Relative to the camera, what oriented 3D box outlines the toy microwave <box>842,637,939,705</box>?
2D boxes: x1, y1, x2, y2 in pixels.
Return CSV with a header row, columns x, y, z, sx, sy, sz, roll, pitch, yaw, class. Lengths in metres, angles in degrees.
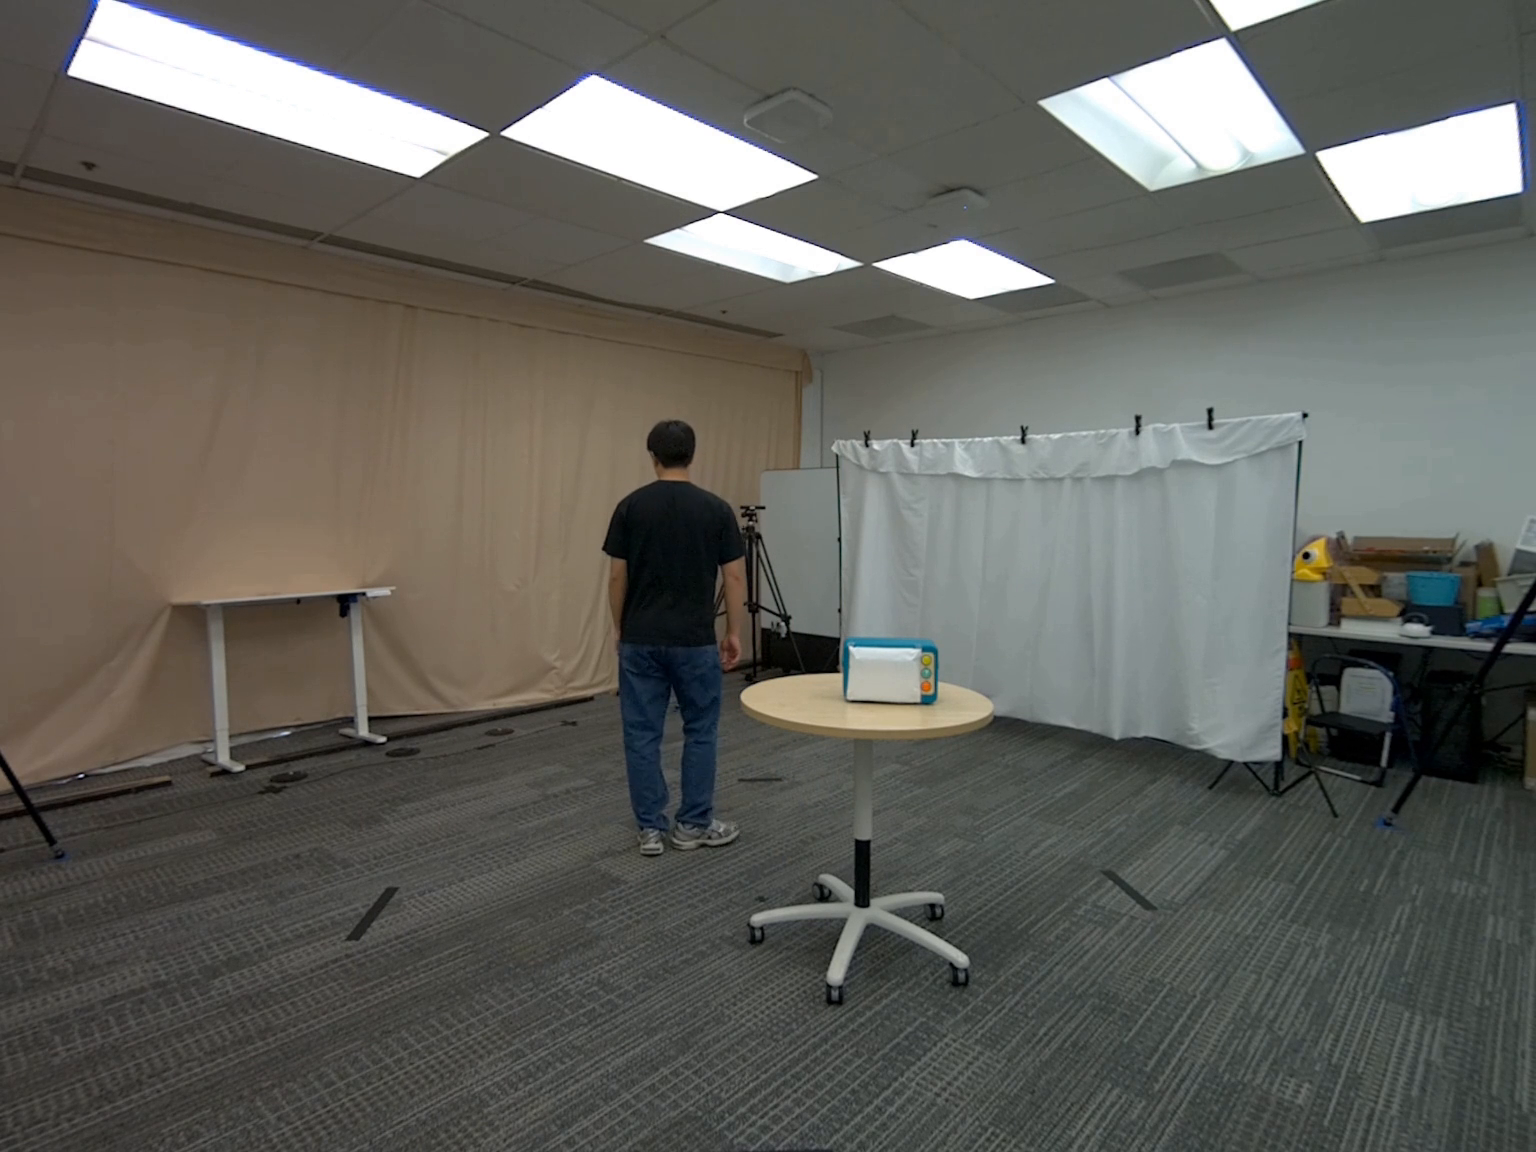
x,y,z,sx,sy,sz,roll,pitch,yaw,class
0.379,0.285,2.566,0.288,0.184,0.151,0,3,6,toy microwave
